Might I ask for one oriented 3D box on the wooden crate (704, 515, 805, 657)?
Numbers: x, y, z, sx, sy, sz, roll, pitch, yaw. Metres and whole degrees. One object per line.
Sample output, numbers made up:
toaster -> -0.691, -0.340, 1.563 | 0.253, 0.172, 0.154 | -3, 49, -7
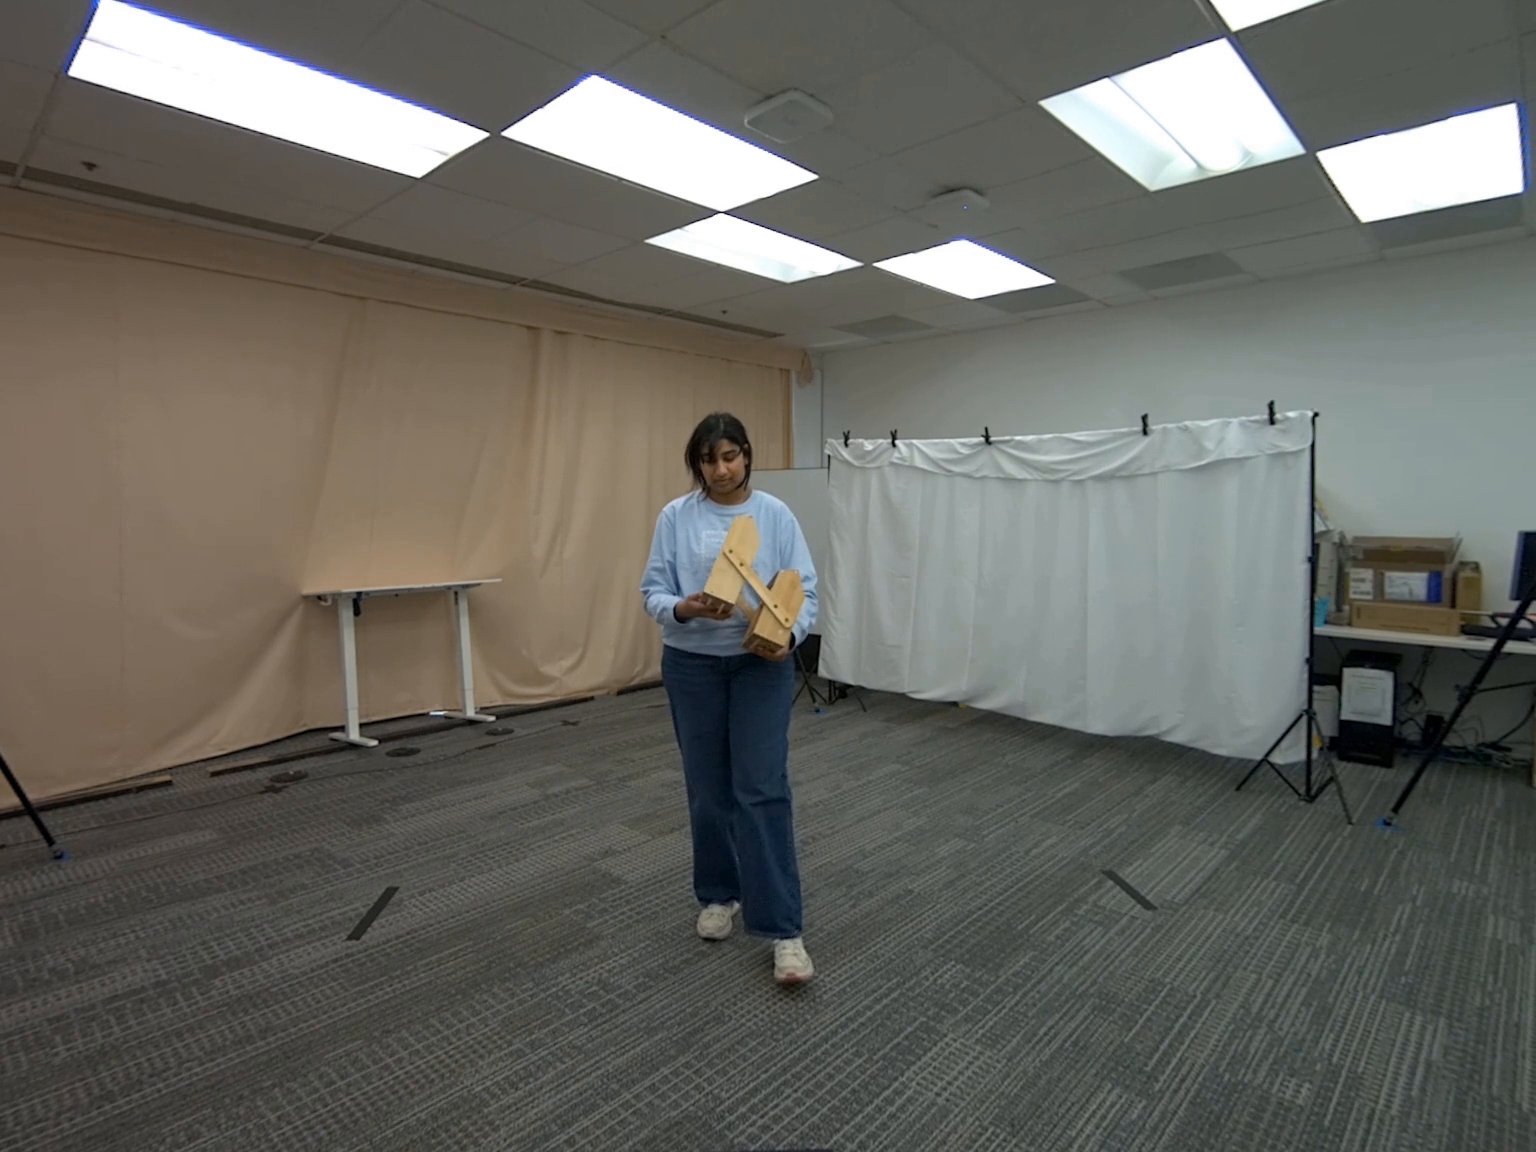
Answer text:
wooden crate -> -0.030, 0.034, 2.420 | 0.273, 0.302, 0.324 | 23, -13, -1
